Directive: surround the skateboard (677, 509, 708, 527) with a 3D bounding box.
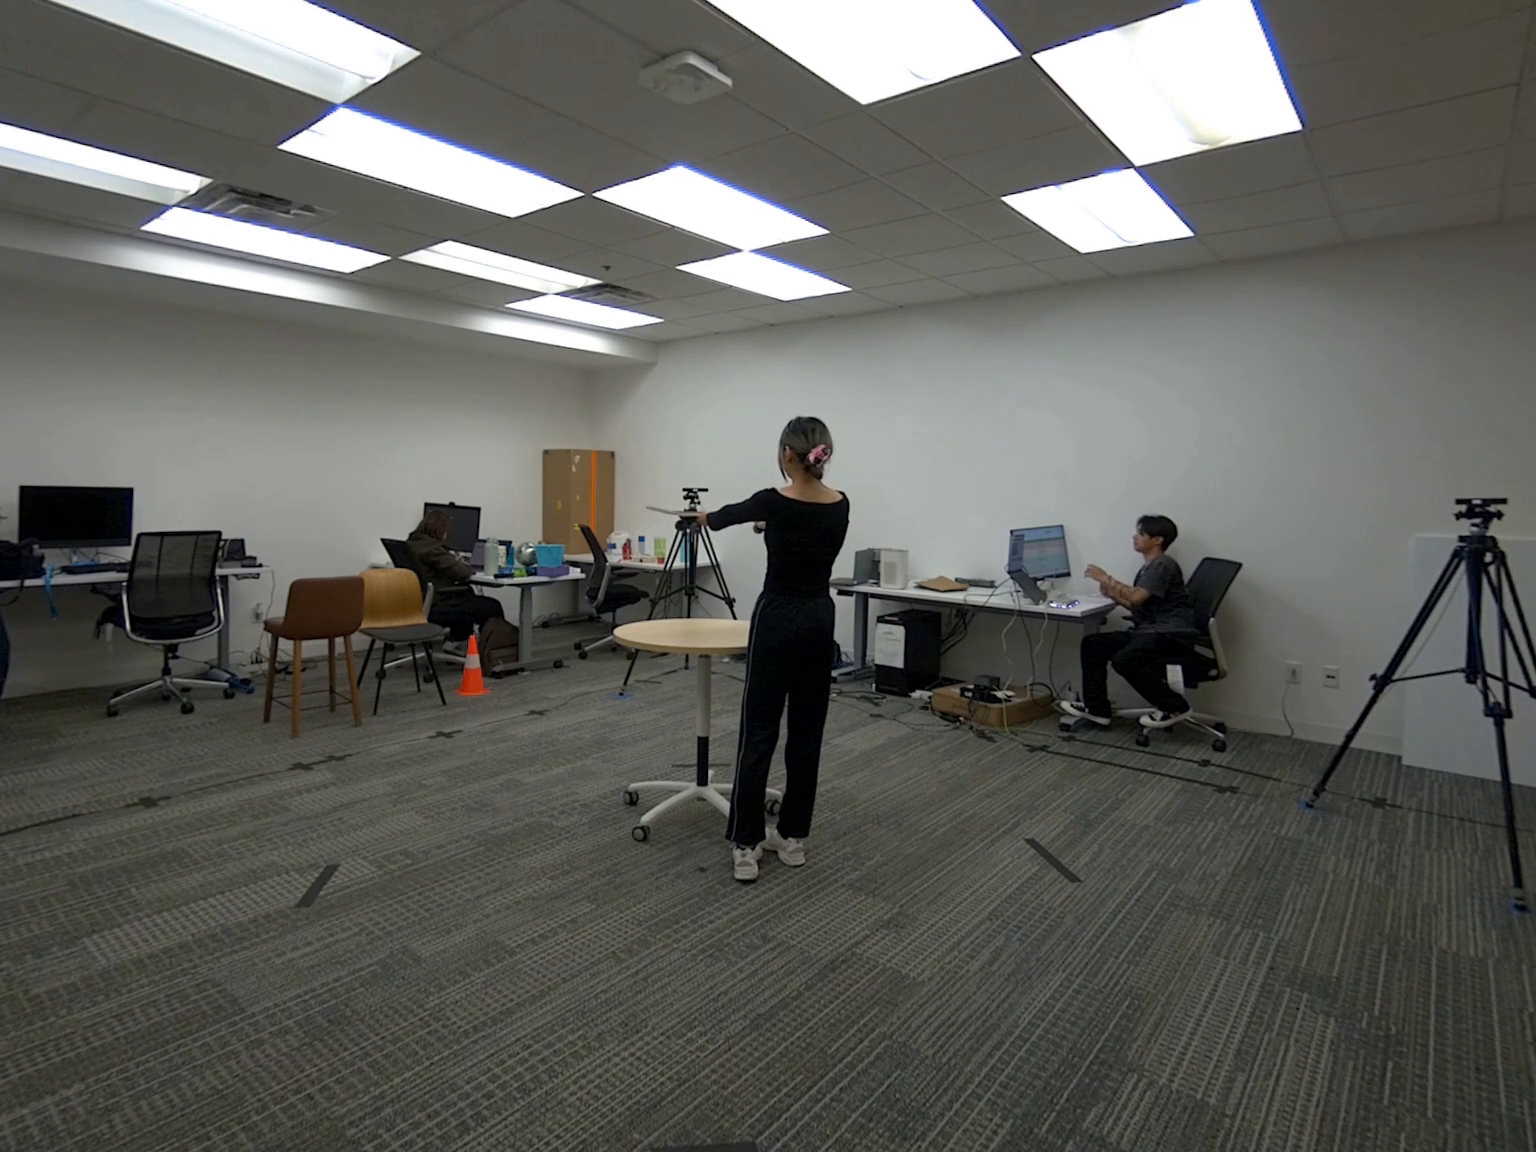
[{"bbox_3d":[-0.191,-0.242,3.739,0.763,0.110,0.200,0,8,-32],"label":"skateboard"}]
